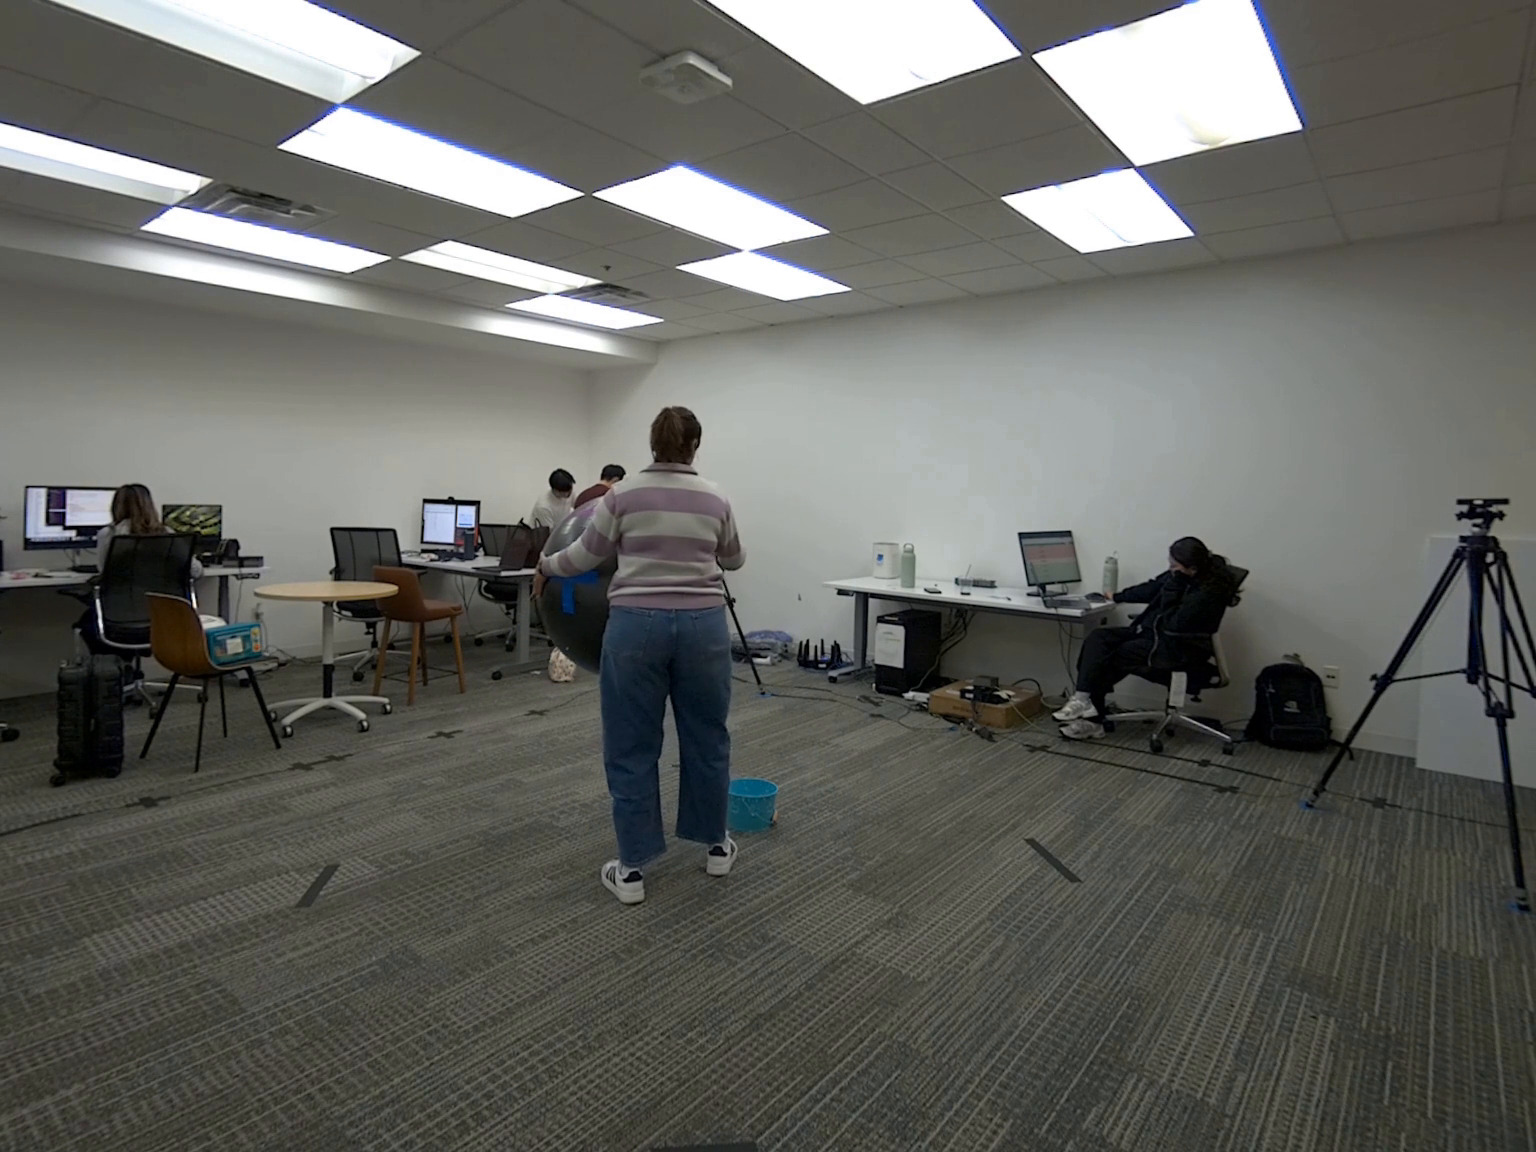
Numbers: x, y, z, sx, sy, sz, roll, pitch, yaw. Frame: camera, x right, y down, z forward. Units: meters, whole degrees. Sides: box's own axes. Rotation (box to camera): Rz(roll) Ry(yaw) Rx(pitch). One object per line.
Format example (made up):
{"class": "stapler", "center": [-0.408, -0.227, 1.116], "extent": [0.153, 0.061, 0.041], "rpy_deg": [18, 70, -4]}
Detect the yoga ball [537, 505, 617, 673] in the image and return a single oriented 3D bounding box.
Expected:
{"class": "yoga ball", "center": [-0.582, 0.037, 3.477], "extent": [0.757, 0.756, 0.761], "rpy_deg": [1, 4, -2]}
